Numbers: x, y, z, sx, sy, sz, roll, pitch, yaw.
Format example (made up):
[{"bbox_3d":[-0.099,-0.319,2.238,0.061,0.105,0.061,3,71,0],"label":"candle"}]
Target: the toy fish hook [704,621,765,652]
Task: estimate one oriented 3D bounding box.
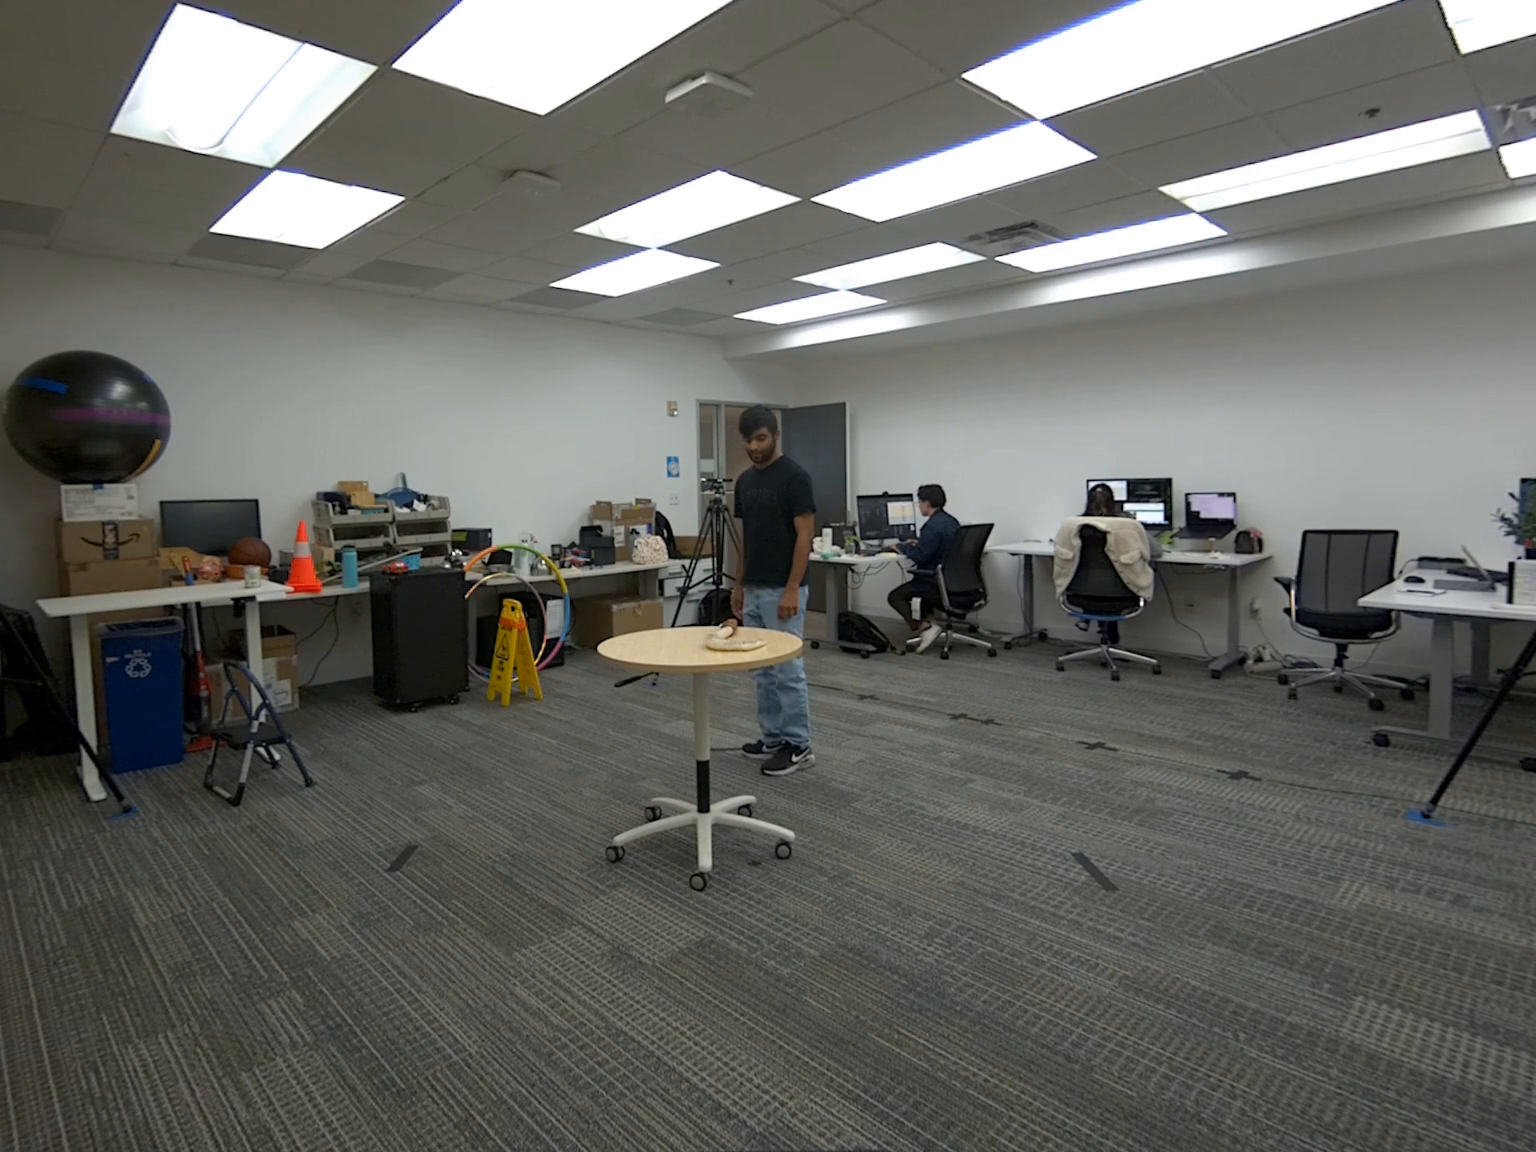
[{"bbox_3d":[-0.110,0.227,3.285,0.226,0.048,0.507,6,8,4],"label":"toy fish hook"}]
